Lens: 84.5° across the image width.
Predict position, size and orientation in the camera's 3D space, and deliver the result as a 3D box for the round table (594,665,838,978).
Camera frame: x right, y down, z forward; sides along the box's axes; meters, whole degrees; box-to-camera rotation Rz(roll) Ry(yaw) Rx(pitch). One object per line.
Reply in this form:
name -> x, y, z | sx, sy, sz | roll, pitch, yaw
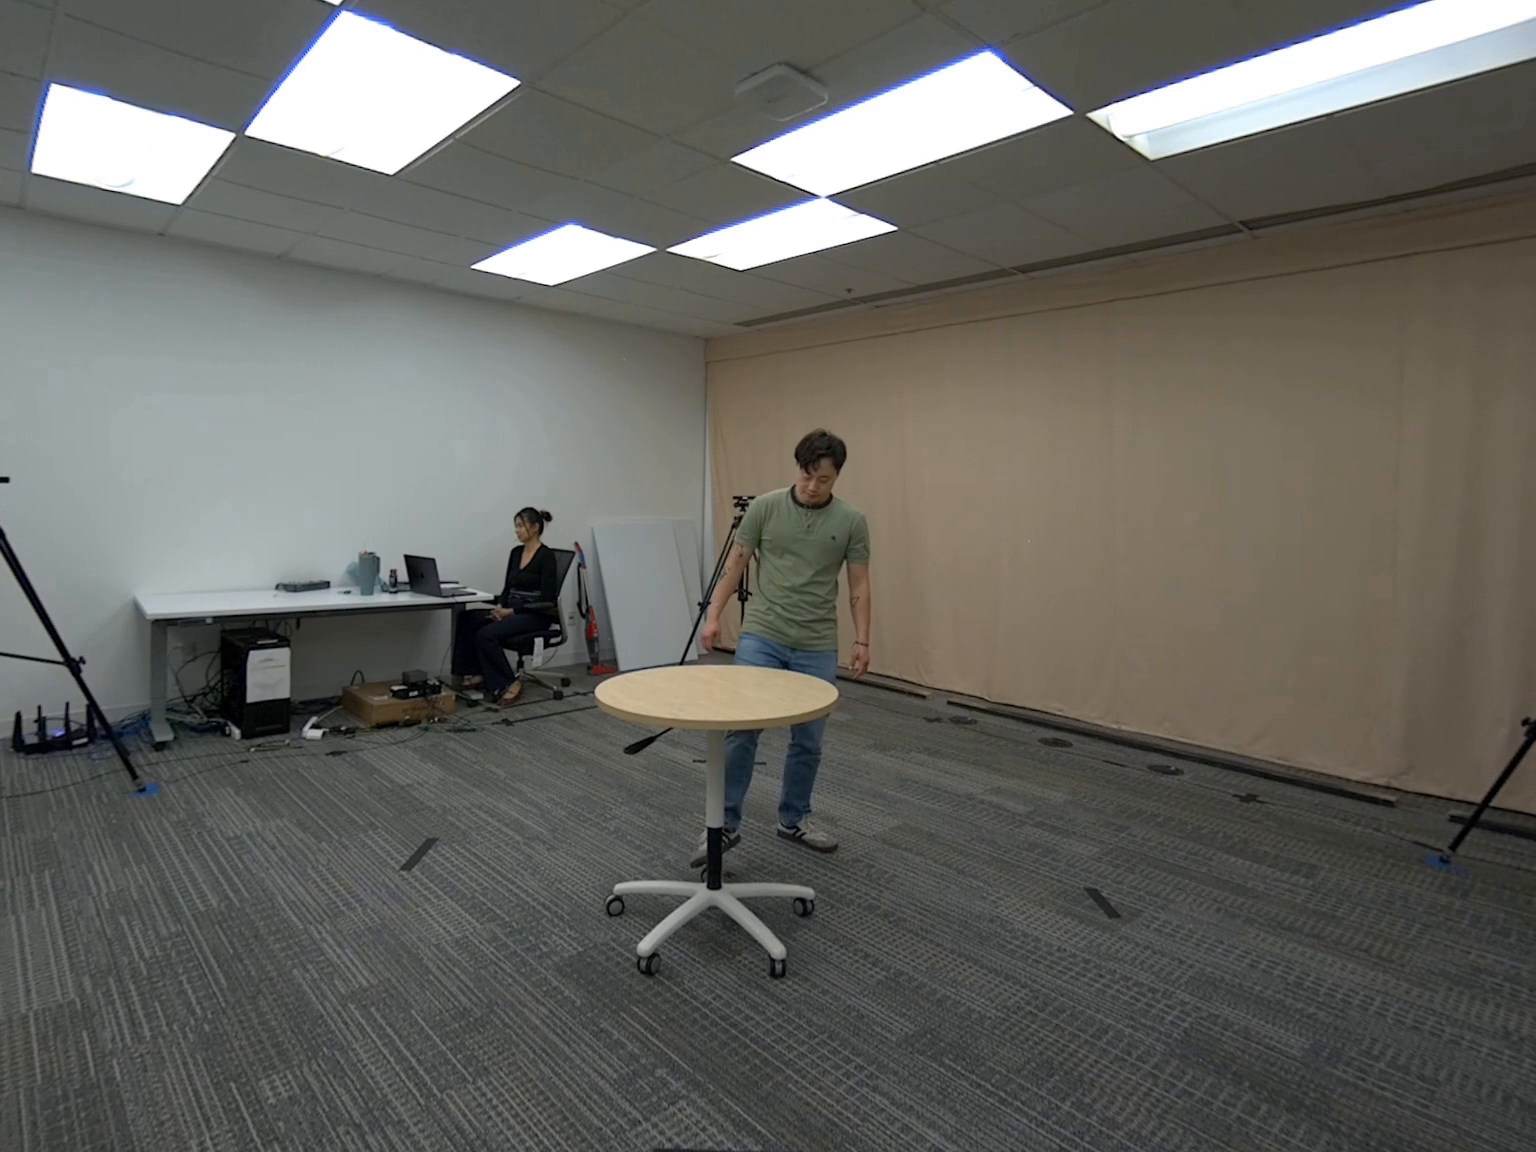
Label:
round table -> -0.169, 0.755, 2.680 | 0.763, 0.792, 0.766 | 1, 4, -1
